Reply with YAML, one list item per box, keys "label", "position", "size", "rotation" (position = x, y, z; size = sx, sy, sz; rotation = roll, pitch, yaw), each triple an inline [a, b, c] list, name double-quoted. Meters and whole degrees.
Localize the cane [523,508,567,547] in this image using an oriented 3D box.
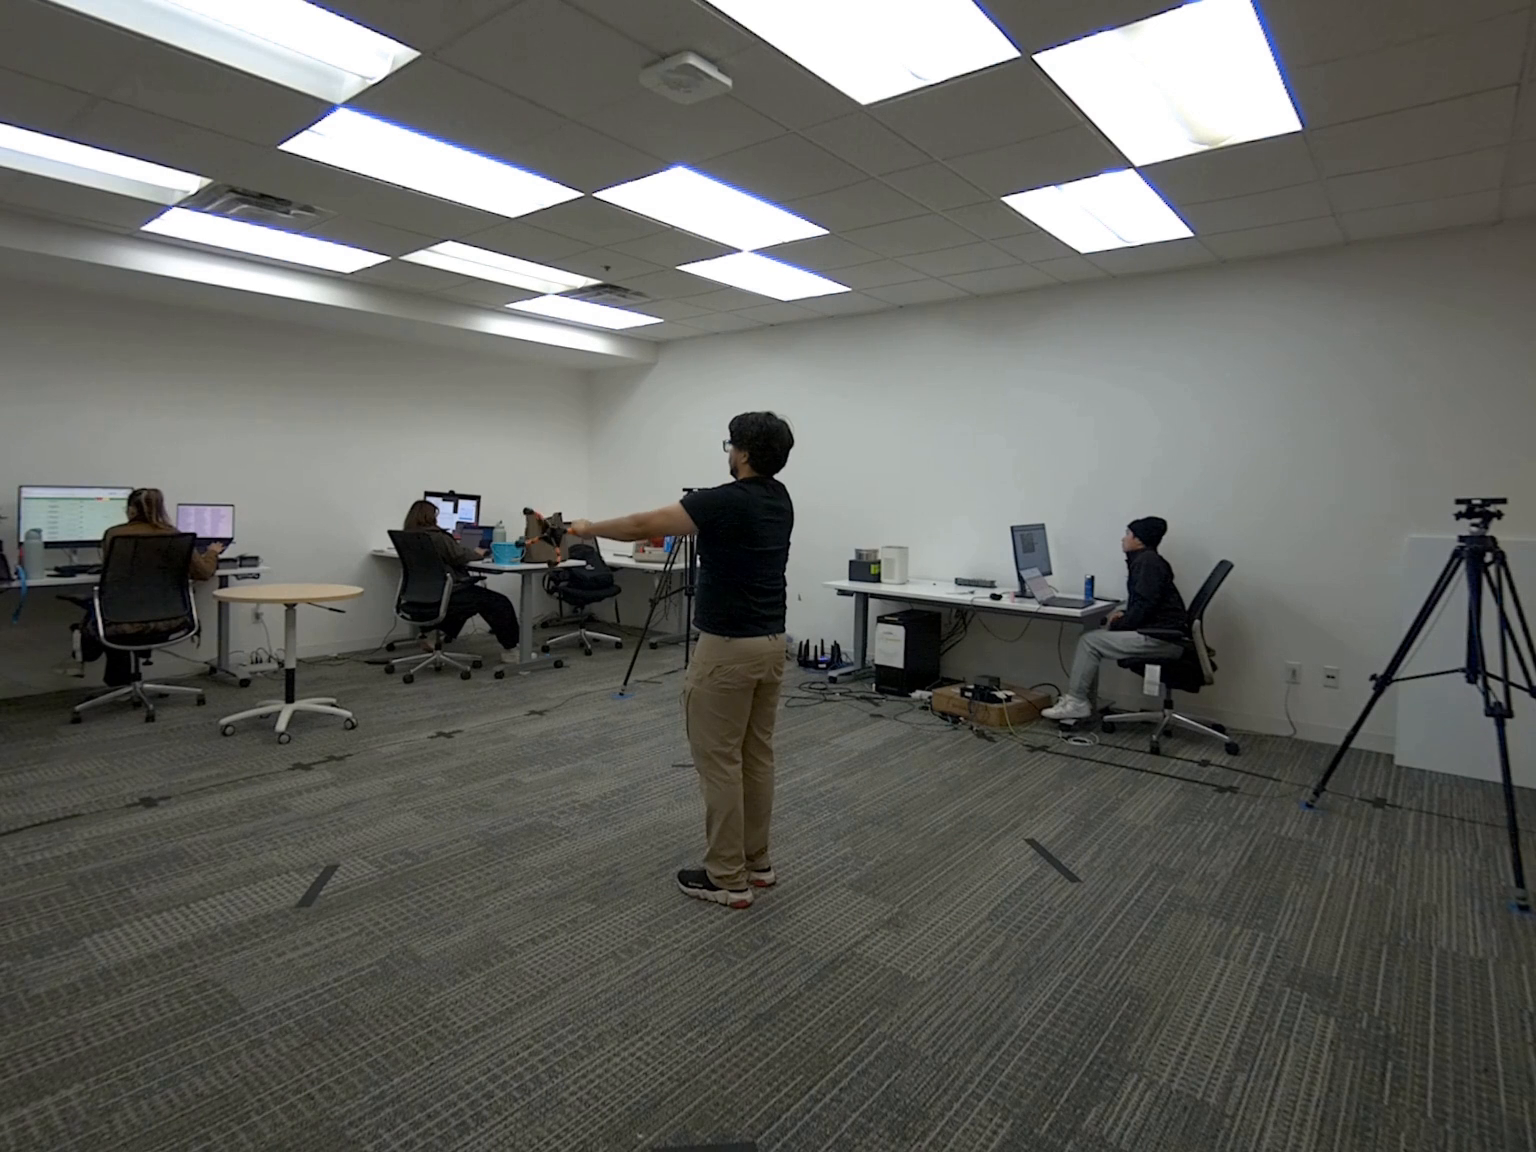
- label: "cane"
  position: [-0.557, -0.170, 3.299]
  size: [0.214, 0.150, 0.883]
  rotation: [27, 18, 29]
